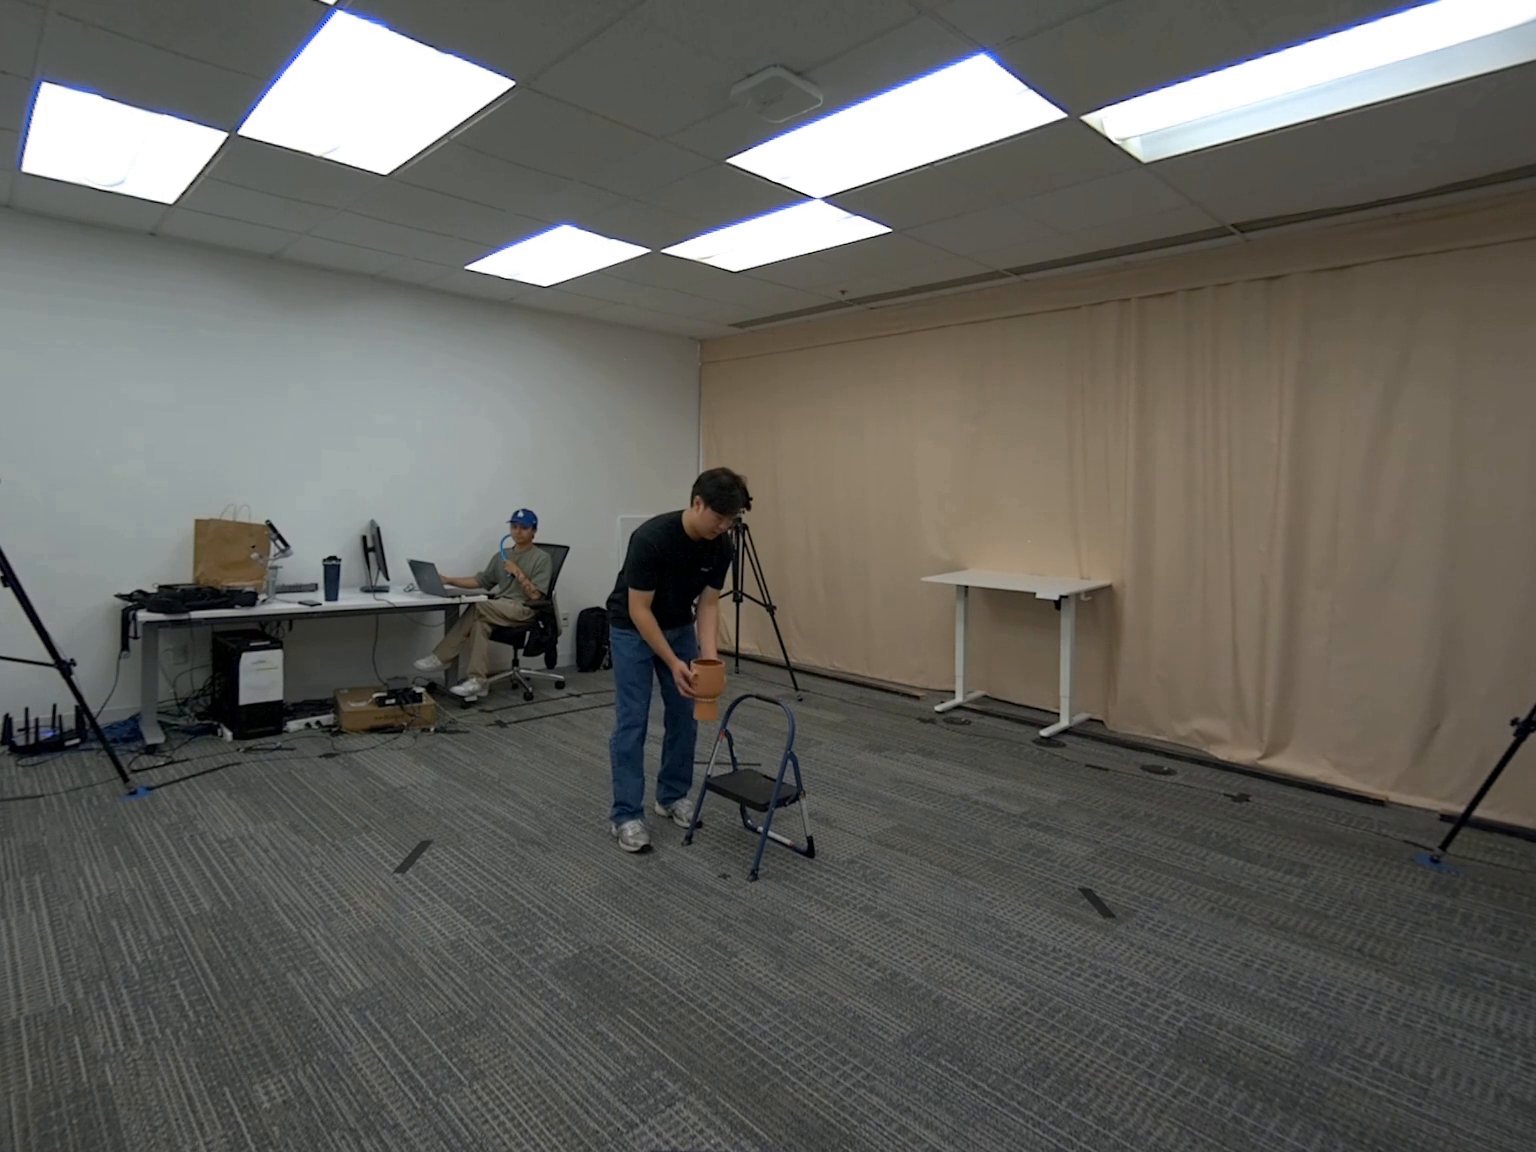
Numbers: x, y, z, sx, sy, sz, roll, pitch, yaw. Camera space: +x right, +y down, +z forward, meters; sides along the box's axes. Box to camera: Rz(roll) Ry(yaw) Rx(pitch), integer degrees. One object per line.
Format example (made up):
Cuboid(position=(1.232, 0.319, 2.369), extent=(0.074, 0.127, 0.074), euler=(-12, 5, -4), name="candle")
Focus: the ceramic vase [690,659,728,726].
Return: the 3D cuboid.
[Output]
Cuboid(position=(-0.256, 0.448, 3.277), extent=(0.156, 0.219, 0.137), euler=(0, 6, -18), name="ceramic vase")
